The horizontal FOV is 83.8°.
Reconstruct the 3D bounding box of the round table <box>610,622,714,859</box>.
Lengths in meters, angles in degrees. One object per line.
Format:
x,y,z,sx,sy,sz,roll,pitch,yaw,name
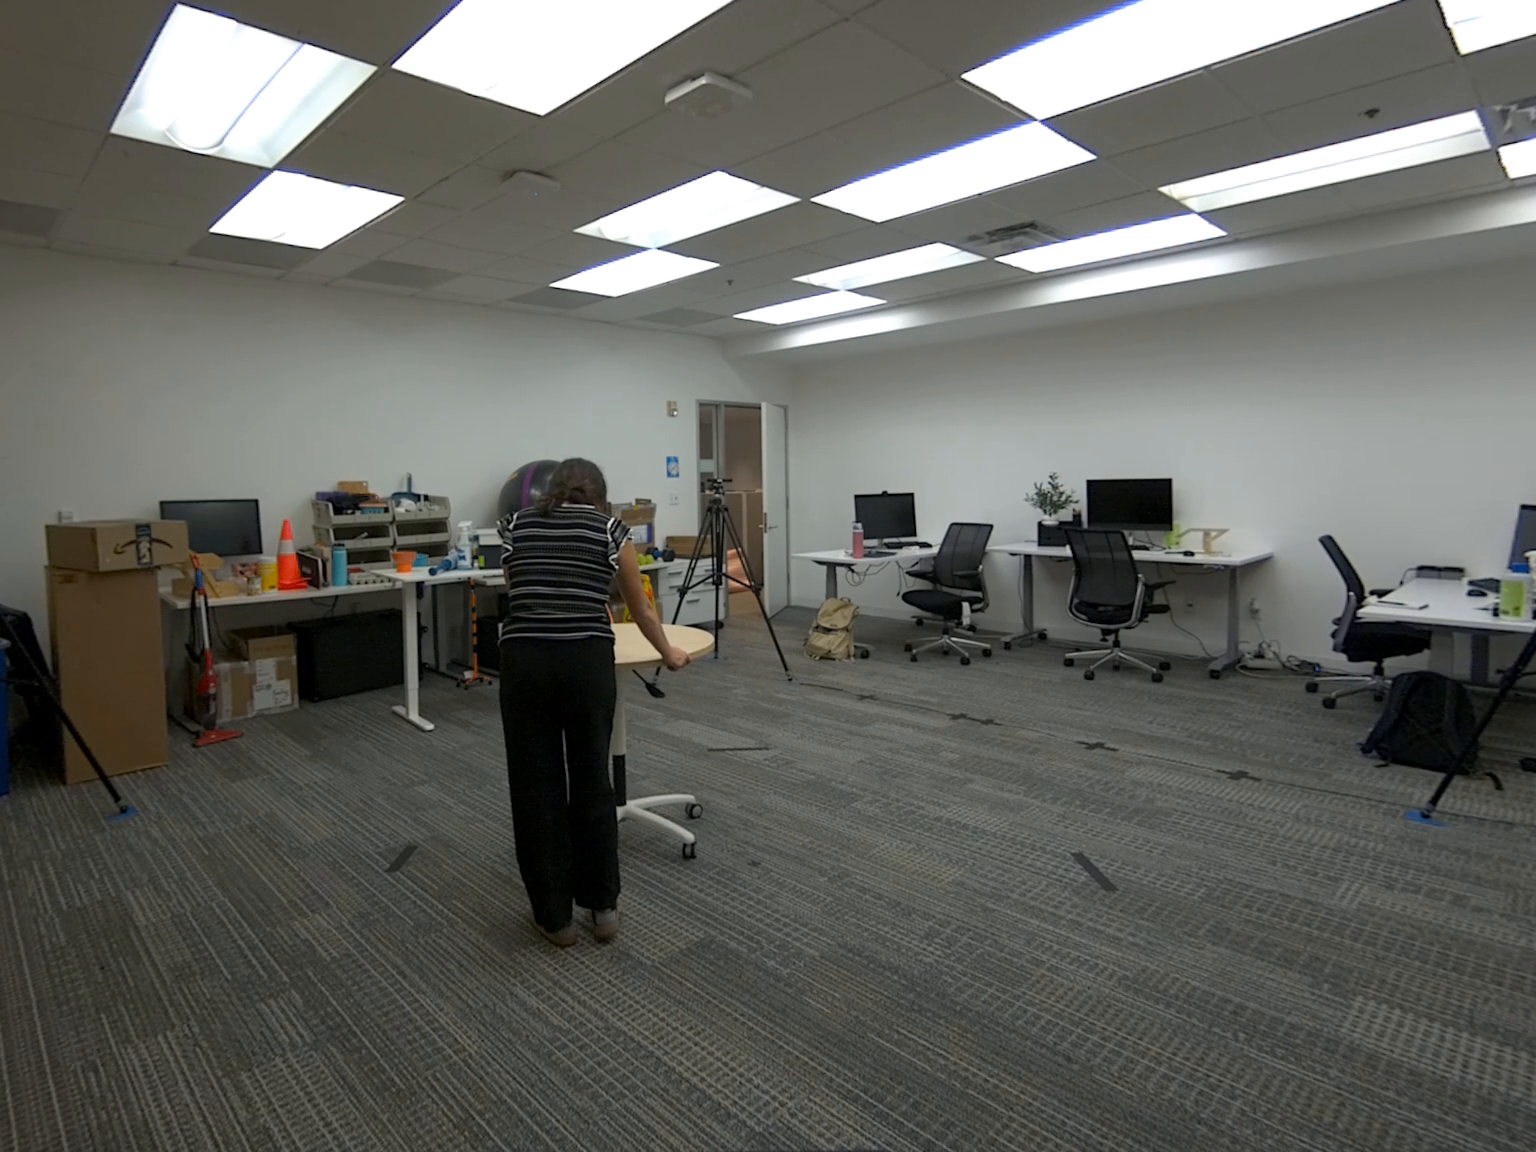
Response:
-0.571,0.643,3.323,0.763,0.790,0.768,-1,5,-2,round table
